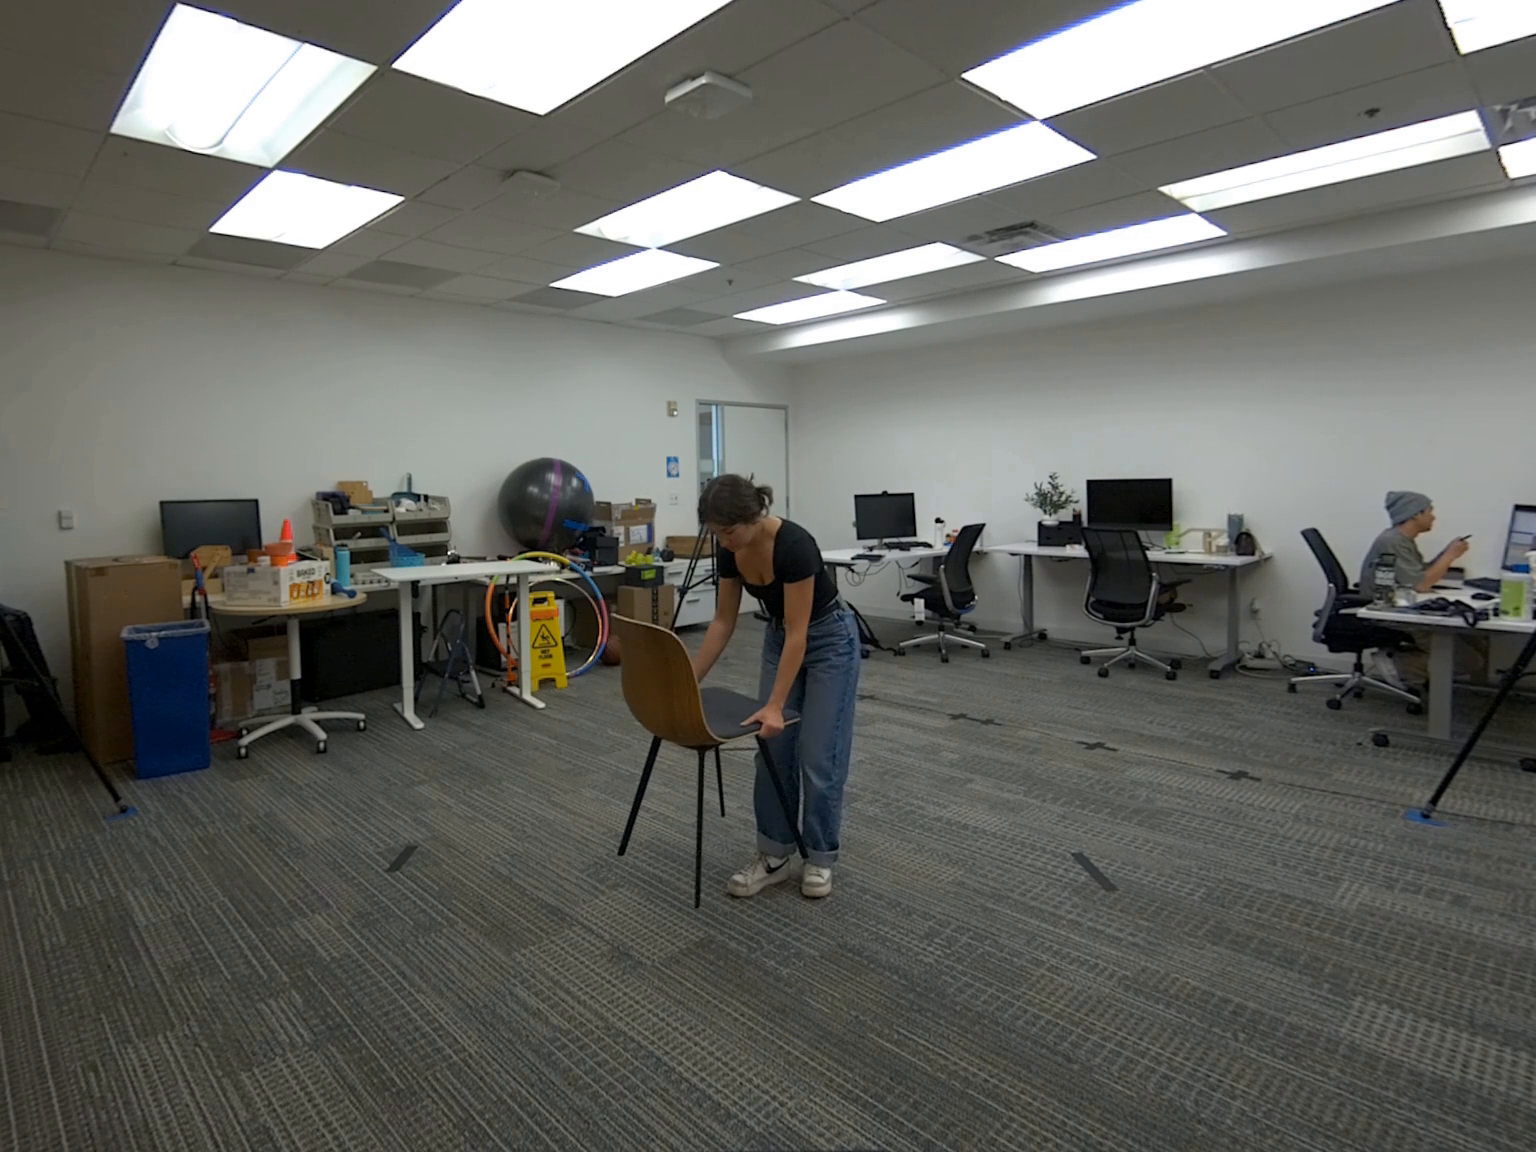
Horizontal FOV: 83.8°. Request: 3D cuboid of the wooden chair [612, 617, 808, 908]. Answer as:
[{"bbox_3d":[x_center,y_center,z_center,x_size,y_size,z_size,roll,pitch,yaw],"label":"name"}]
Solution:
[{"bbox_3d":[-0.199,0.511,2.756,0.512,0.870,0.493,-13,12,-39],"label":"wooden chair"}]
